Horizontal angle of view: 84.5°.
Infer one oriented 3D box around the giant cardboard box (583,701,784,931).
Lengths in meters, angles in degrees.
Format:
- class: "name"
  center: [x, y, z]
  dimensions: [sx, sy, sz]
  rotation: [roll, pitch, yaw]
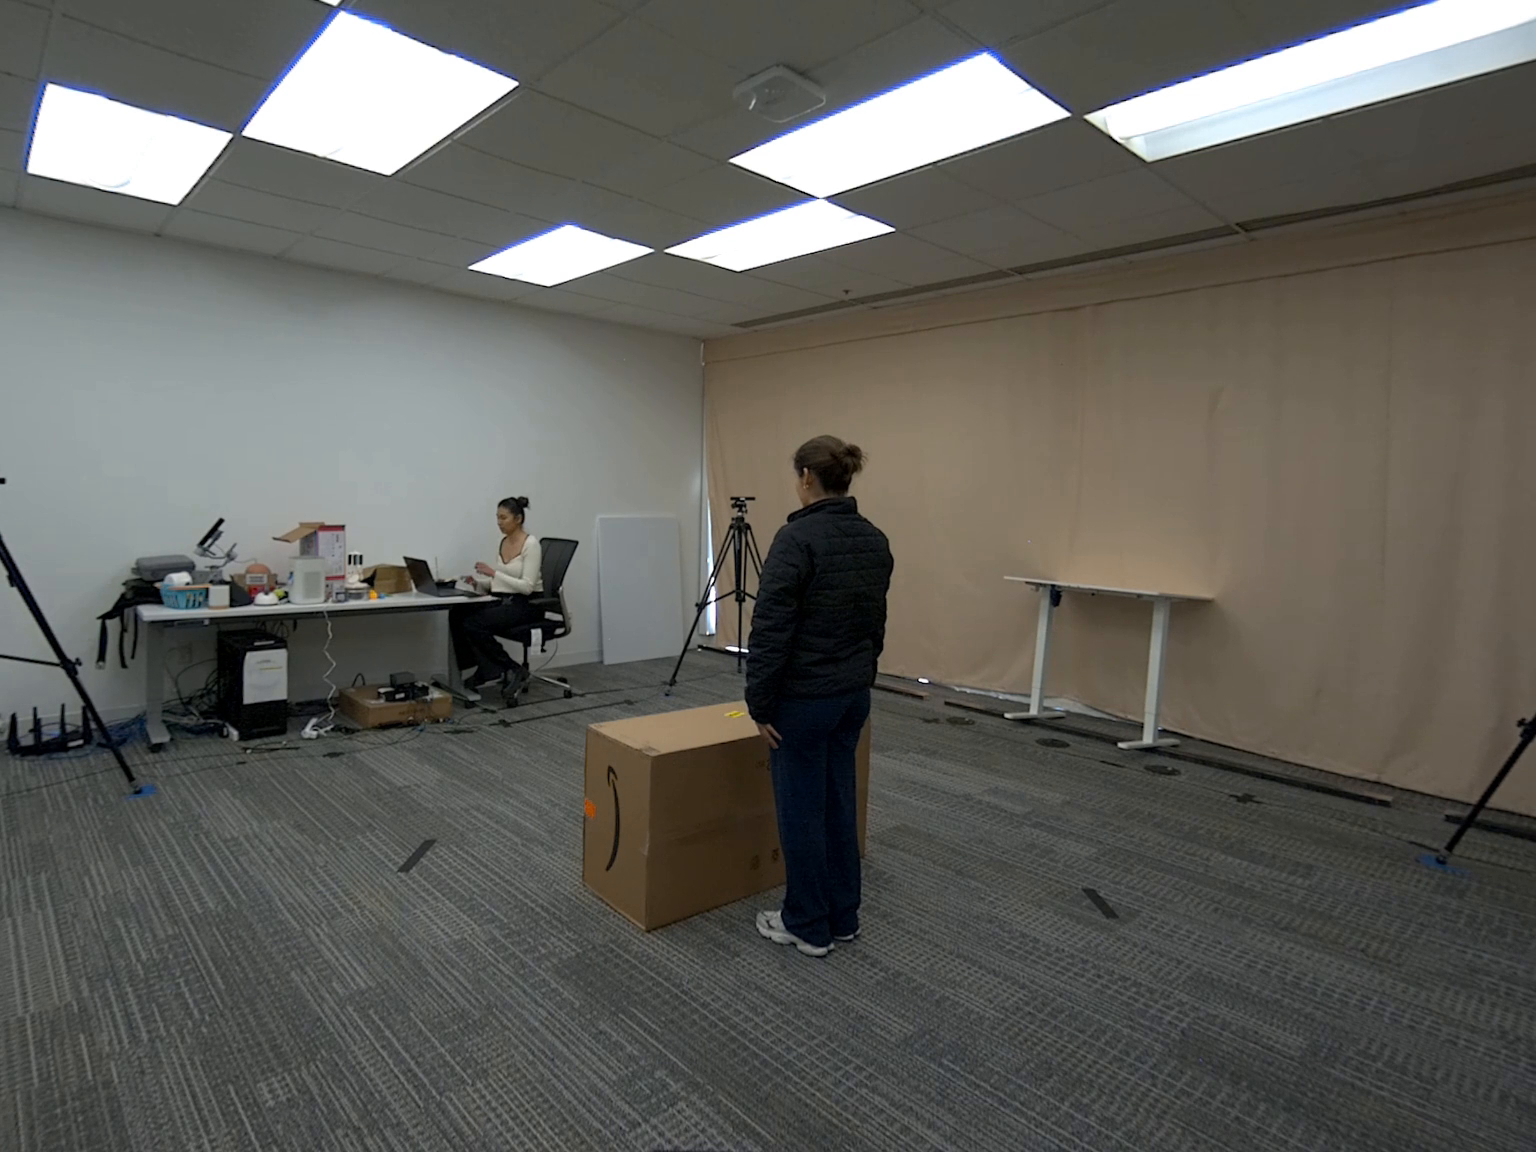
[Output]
- class: "giant cardboard box"
  center: [-0.135, 0.819, 3.137]
  dimensions: [1.004, 0.583, 0.458]
  rotation: [-2, 4, -40]
